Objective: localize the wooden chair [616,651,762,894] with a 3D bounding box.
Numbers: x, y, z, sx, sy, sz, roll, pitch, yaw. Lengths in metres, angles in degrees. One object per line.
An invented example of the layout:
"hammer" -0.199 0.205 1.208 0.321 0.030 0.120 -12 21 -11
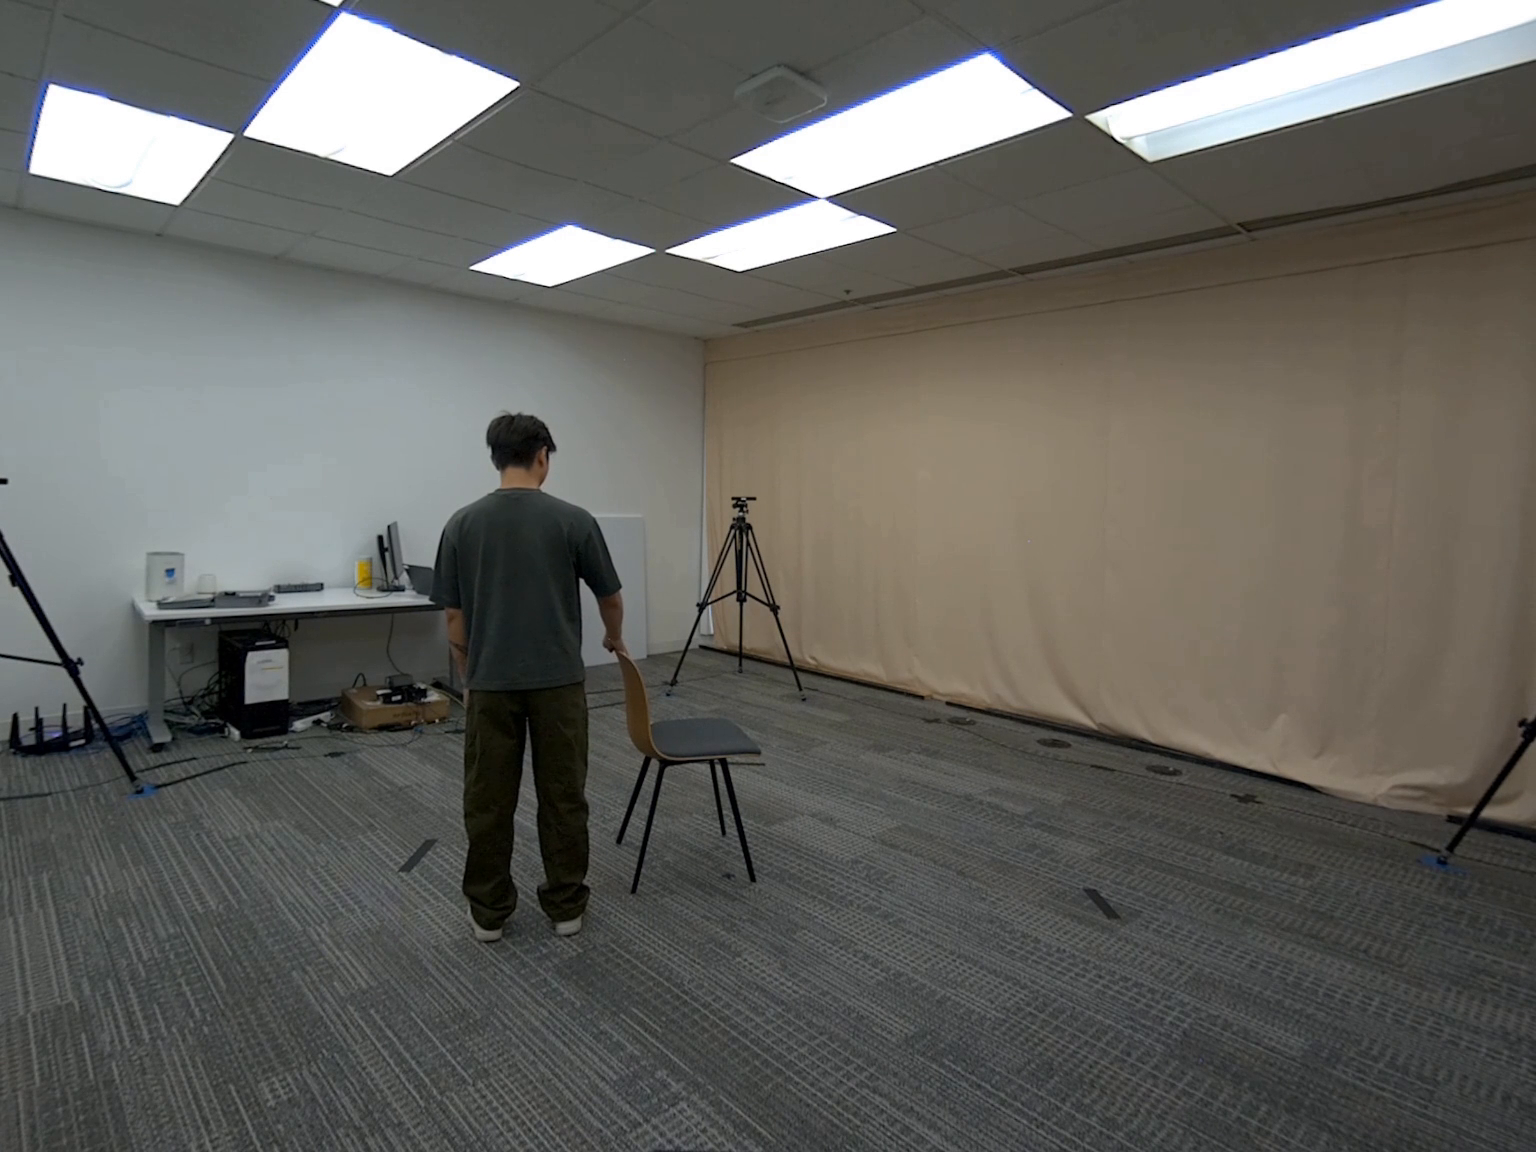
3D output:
"wooden chair" -0.314 0.669 3.187 0.517 0.875 0.485 -4 4 -16
